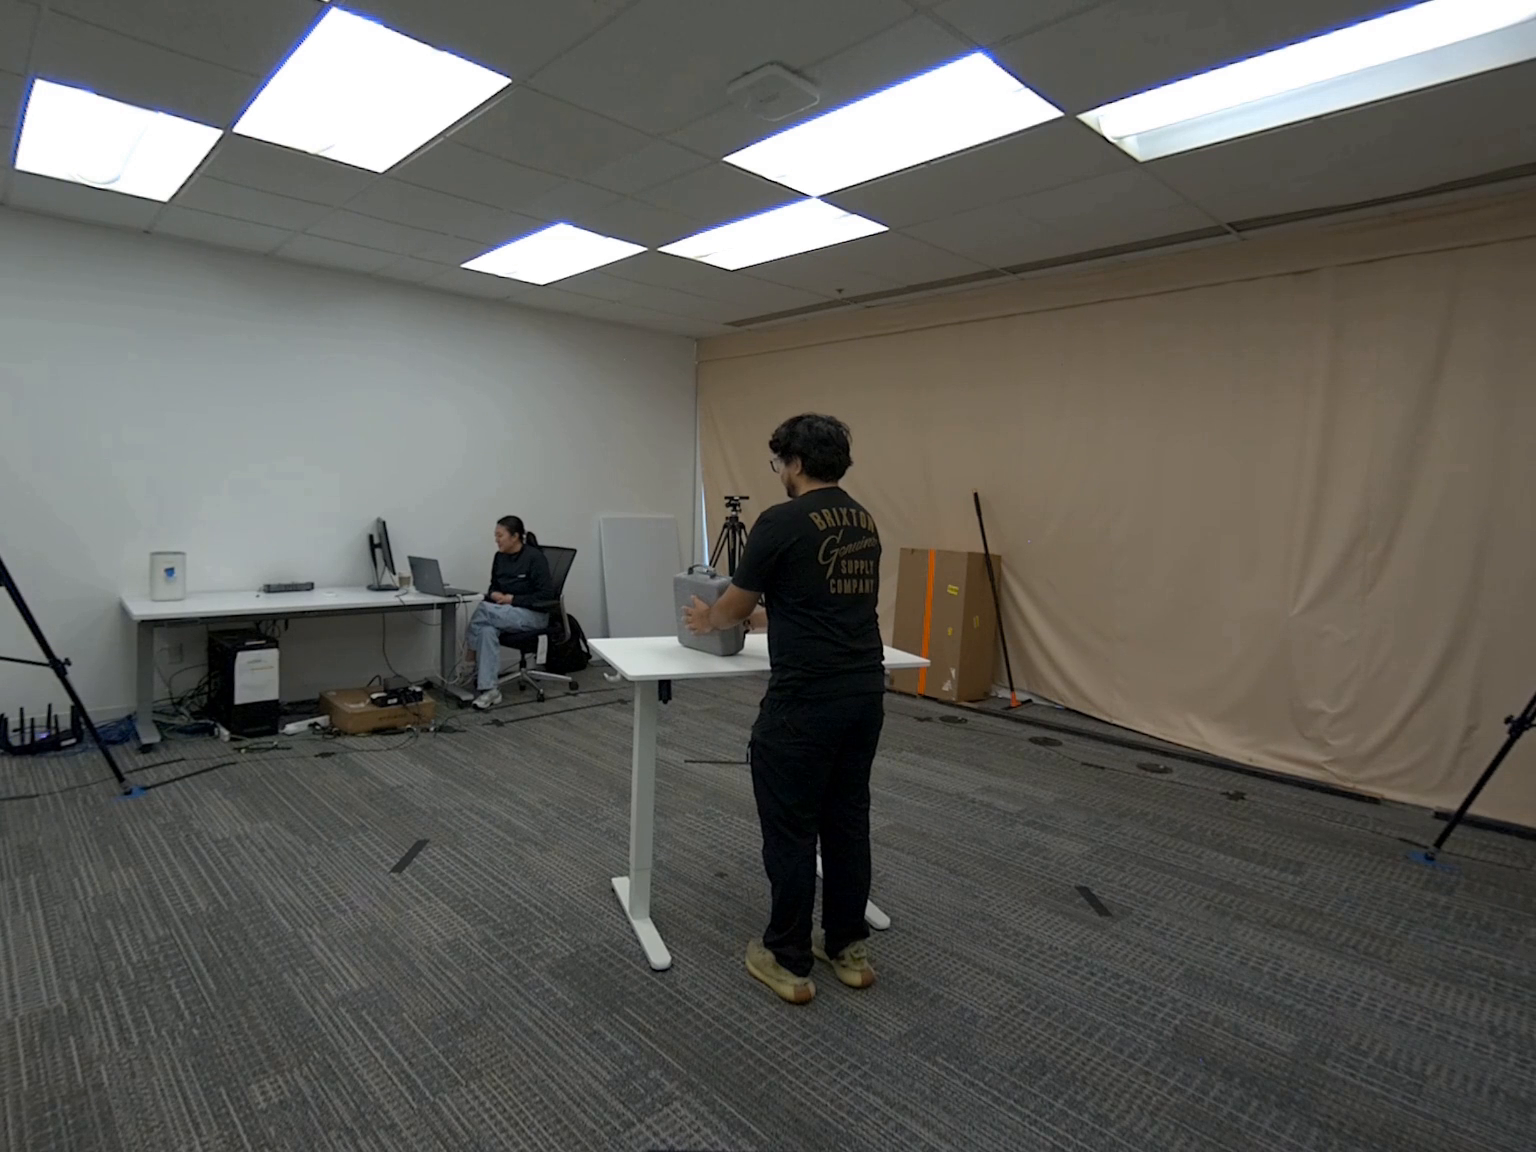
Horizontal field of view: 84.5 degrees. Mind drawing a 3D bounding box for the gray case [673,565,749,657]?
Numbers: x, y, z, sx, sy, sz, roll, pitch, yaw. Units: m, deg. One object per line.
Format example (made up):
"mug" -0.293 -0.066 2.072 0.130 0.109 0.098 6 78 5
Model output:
"gray case" -0.200 0.118 2.767 0.102 0.258 0.264 -13 14 -39
